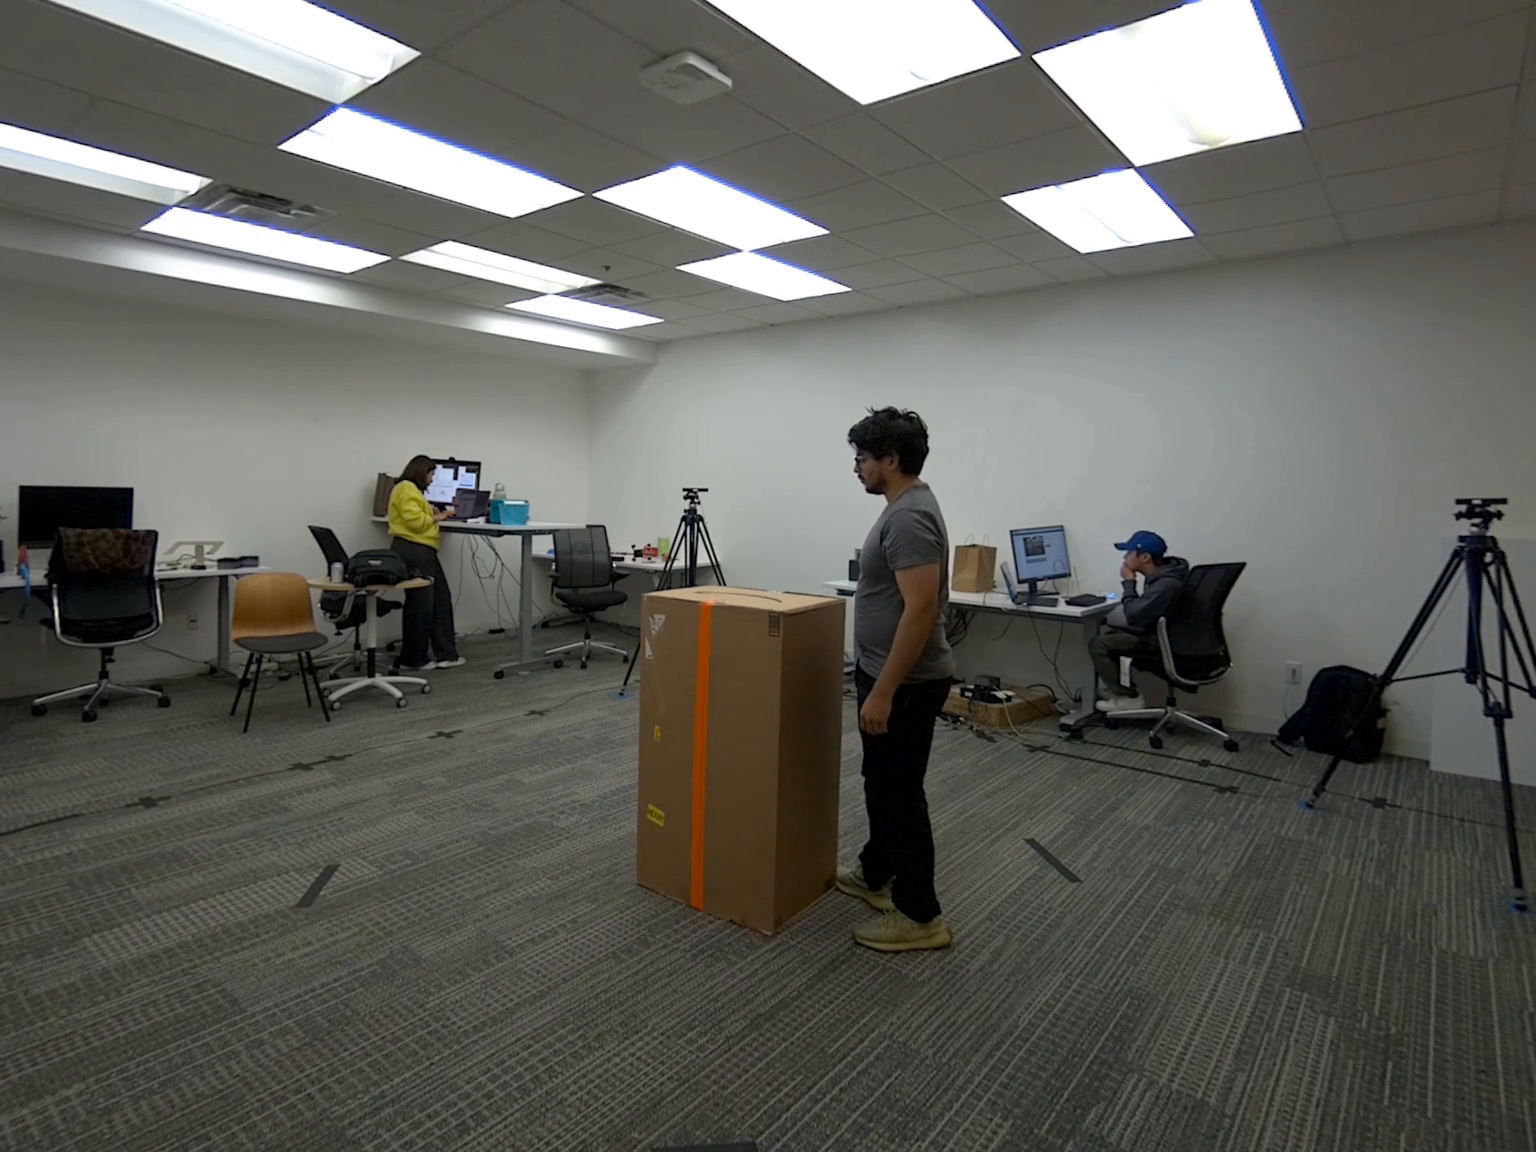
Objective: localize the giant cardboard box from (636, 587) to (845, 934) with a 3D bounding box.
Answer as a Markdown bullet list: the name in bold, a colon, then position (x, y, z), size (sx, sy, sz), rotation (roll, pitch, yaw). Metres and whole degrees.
- **giant cardboard box**: position (-0.108, 0.580, 2.954), size (0.602, 1.025, 0.434), rotation (3, 3, 34)
